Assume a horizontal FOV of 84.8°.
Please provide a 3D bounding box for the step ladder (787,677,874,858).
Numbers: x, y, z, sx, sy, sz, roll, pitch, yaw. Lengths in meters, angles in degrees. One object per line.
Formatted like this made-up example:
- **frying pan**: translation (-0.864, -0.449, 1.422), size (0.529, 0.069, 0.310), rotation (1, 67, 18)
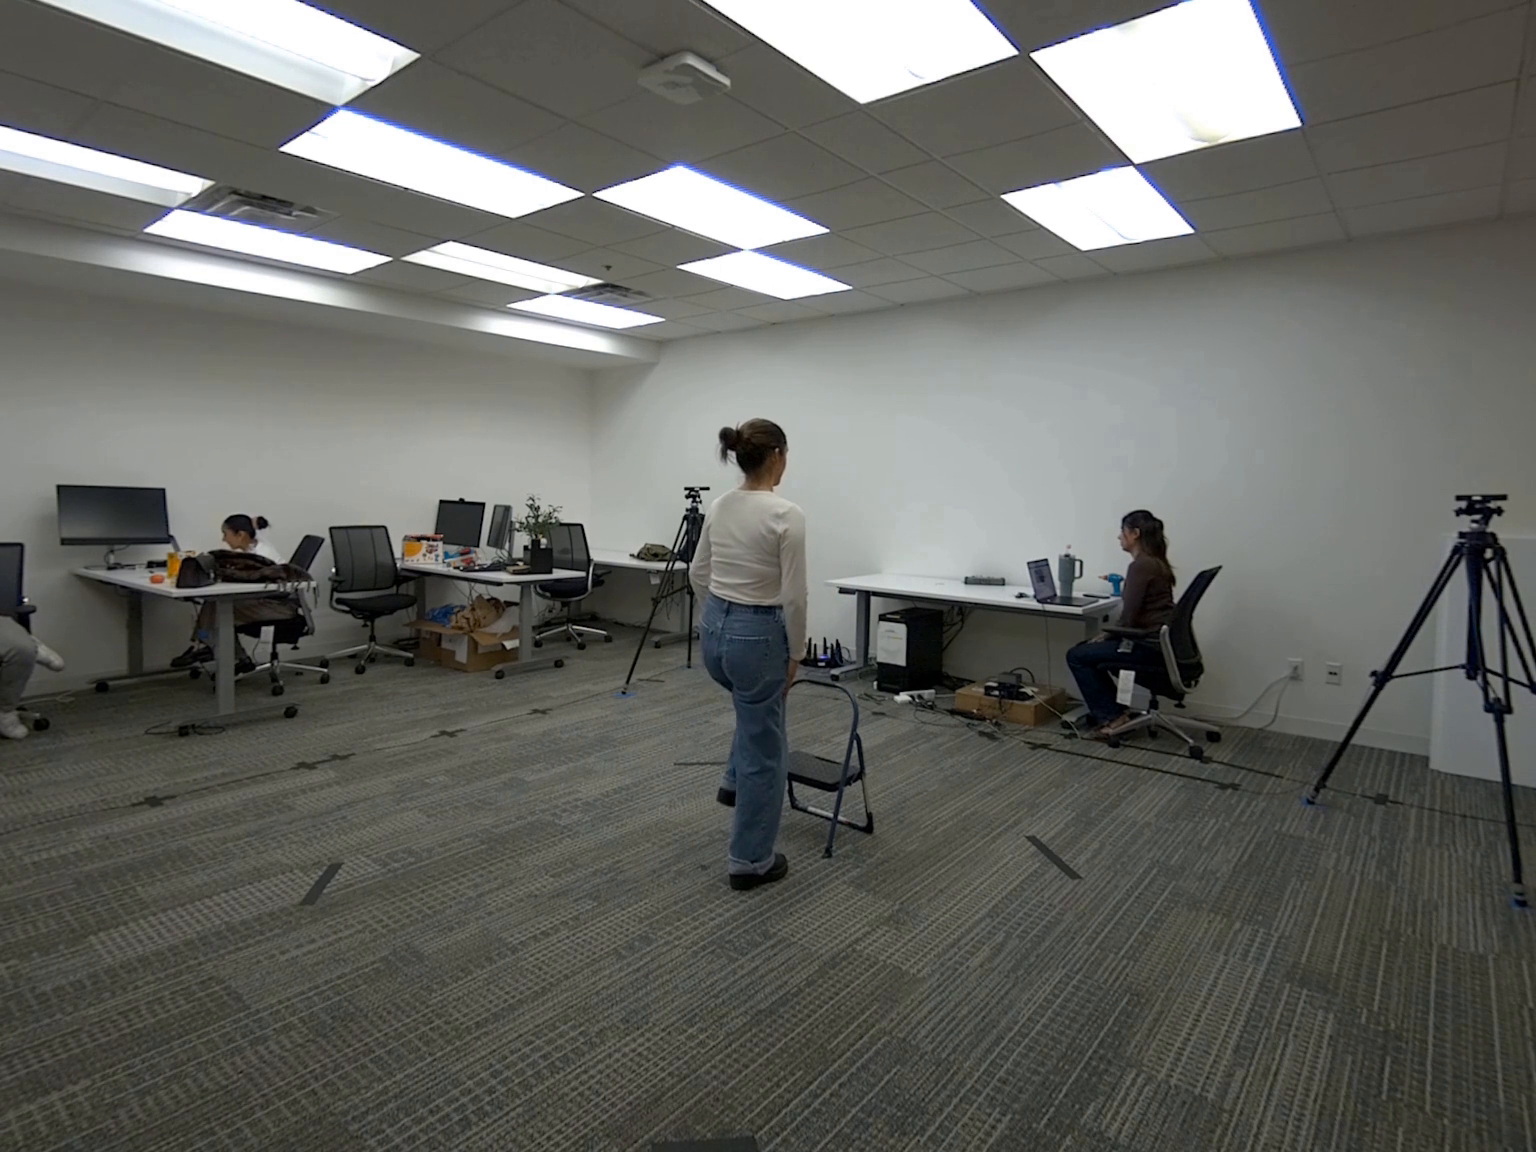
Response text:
- **step ladder**: translation (0.166, 0.734, 3.460), size (0.445, 0.604, 0.339), rotation (4, 5, 39)
